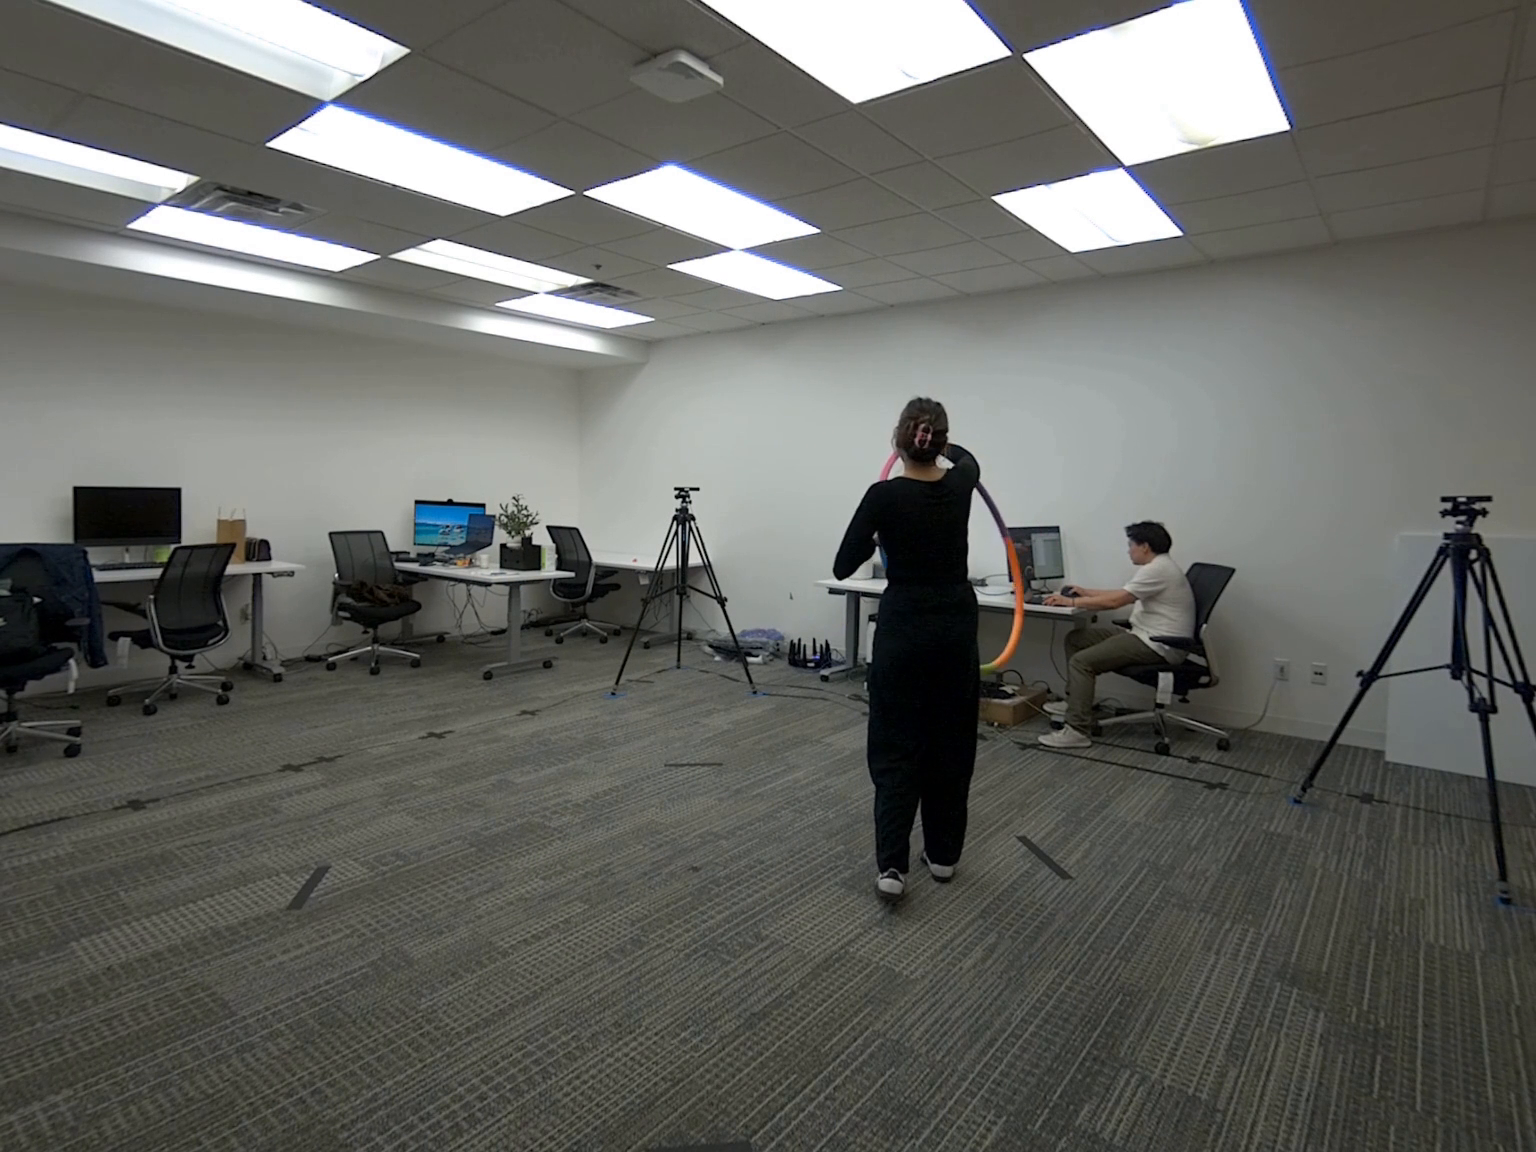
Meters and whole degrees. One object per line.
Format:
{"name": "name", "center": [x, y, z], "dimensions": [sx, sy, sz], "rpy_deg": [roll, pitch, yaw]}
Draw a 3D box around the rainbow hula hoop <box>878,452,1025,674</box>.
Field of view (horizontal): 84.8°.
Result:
{"name": "rainbow hula hoop", "center": [0.751, -0.090, 3.499], "dimensions": [0.956, 0.998, 0.052], "rpy_deg": [-3, -15, -45]}
